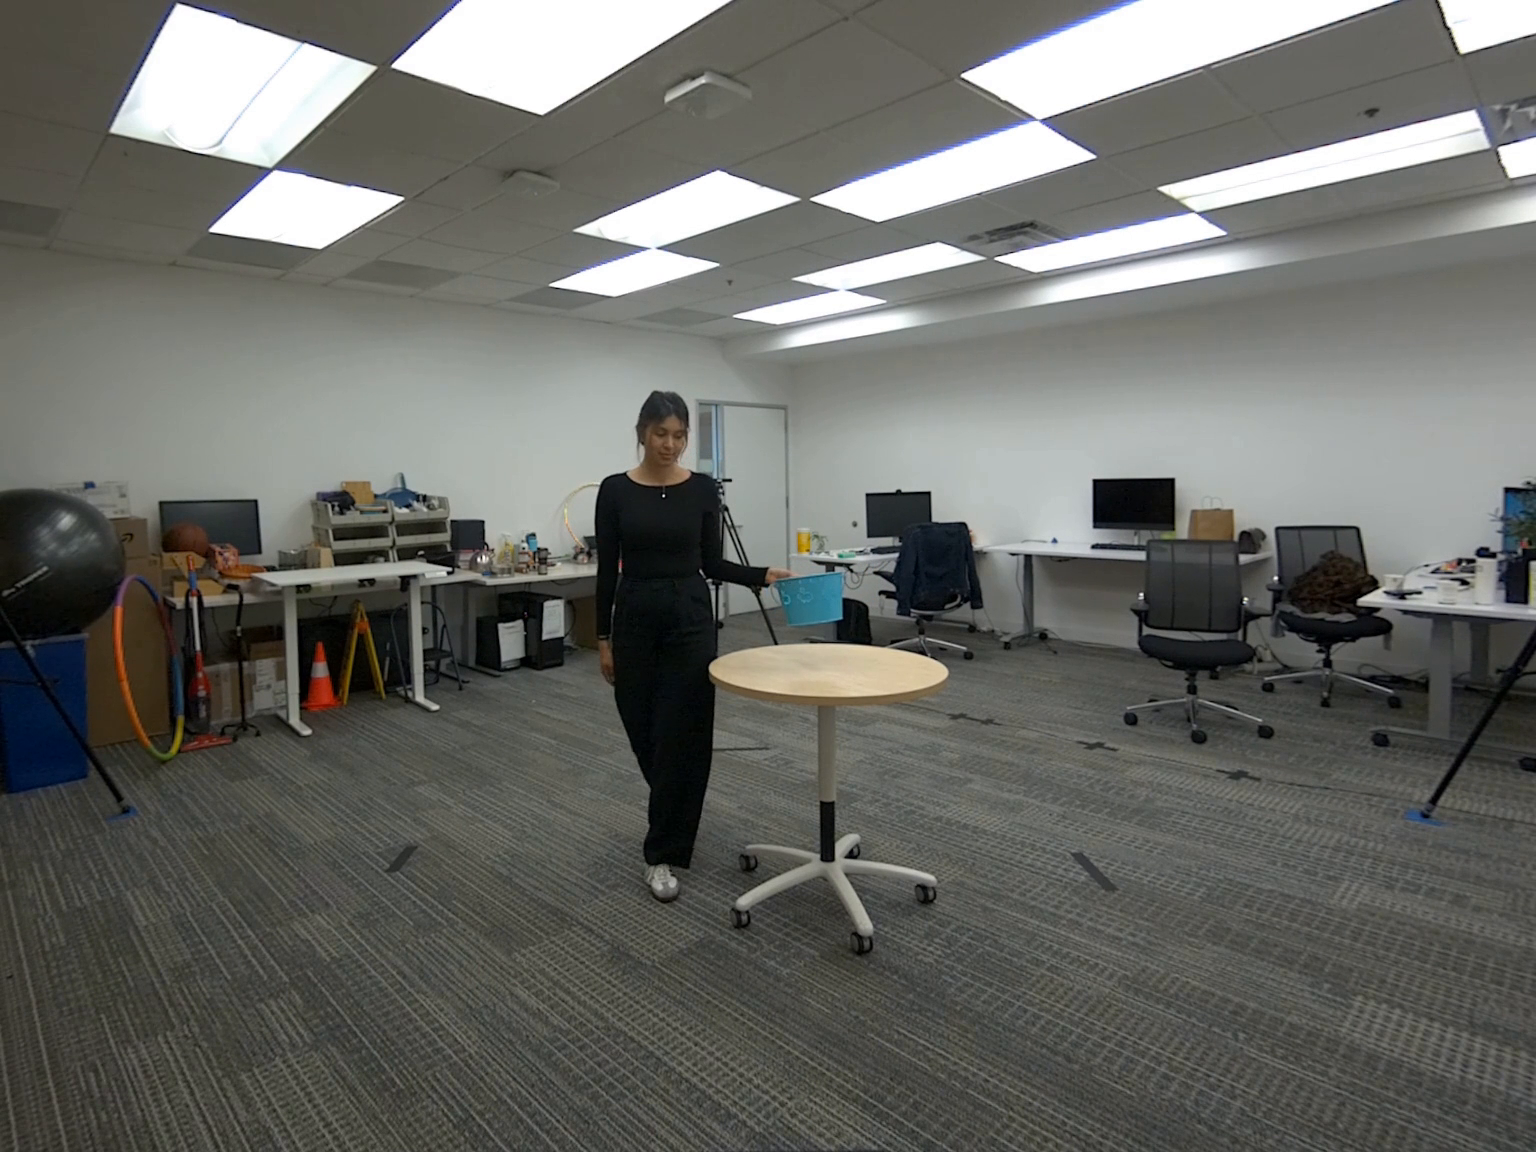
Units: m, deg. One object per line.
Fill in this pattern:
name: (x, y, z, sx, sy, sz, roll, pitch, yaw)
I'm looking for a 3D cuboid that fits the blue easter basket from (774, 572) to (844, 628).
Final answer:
blue easter basket: (0.145, 0.073, 2.790, 0.243, 0.156, 0.243, -7, 0, -2)
